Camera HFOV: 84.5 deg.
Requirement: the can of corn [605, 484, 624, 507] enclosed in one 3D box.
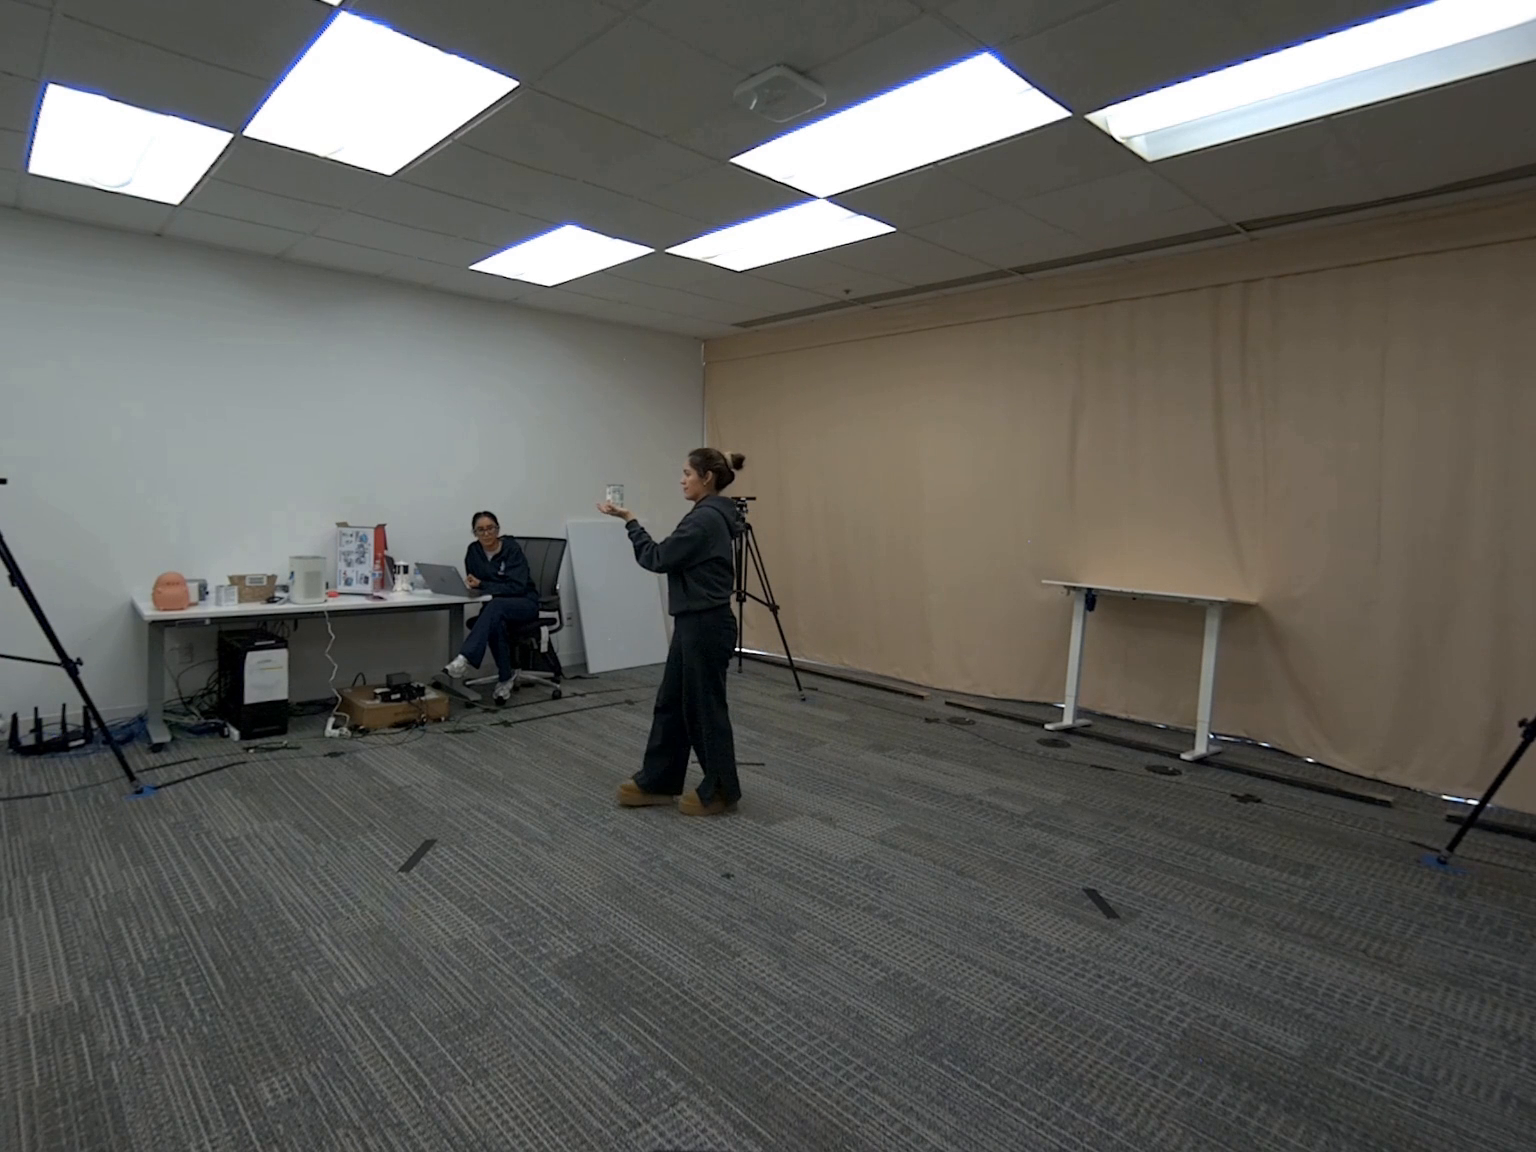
[{"bbox_3d":[-0.672,-0.337,3.648,0.074,0.111,0.074,4,1,-1],"label":"can of corn"}]
